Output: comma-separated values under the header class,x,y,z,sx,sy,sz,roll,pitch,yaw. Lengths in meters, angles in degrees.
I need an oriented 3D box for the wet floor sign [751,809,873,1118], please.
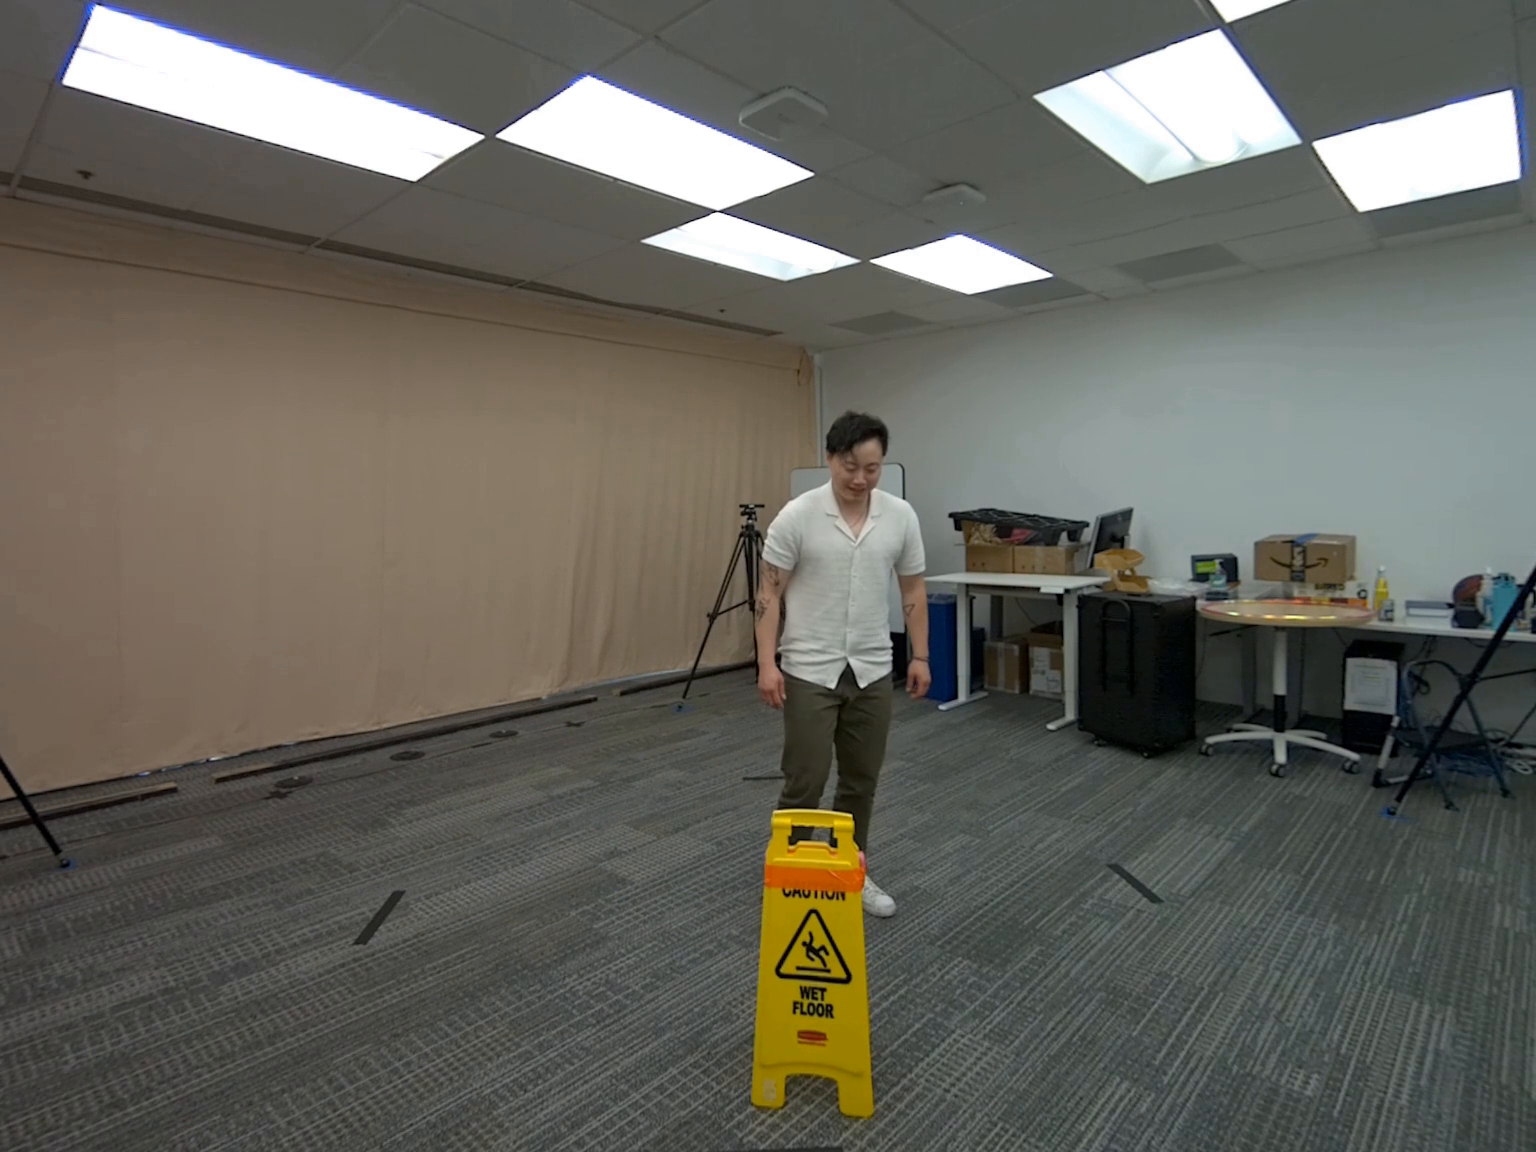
class,x,y,z,sx,sy,sz,roll,pitch,yaw
wet floor sign,0.113,0.894,2.058,0.285,0.645,0.288,1,3,7
